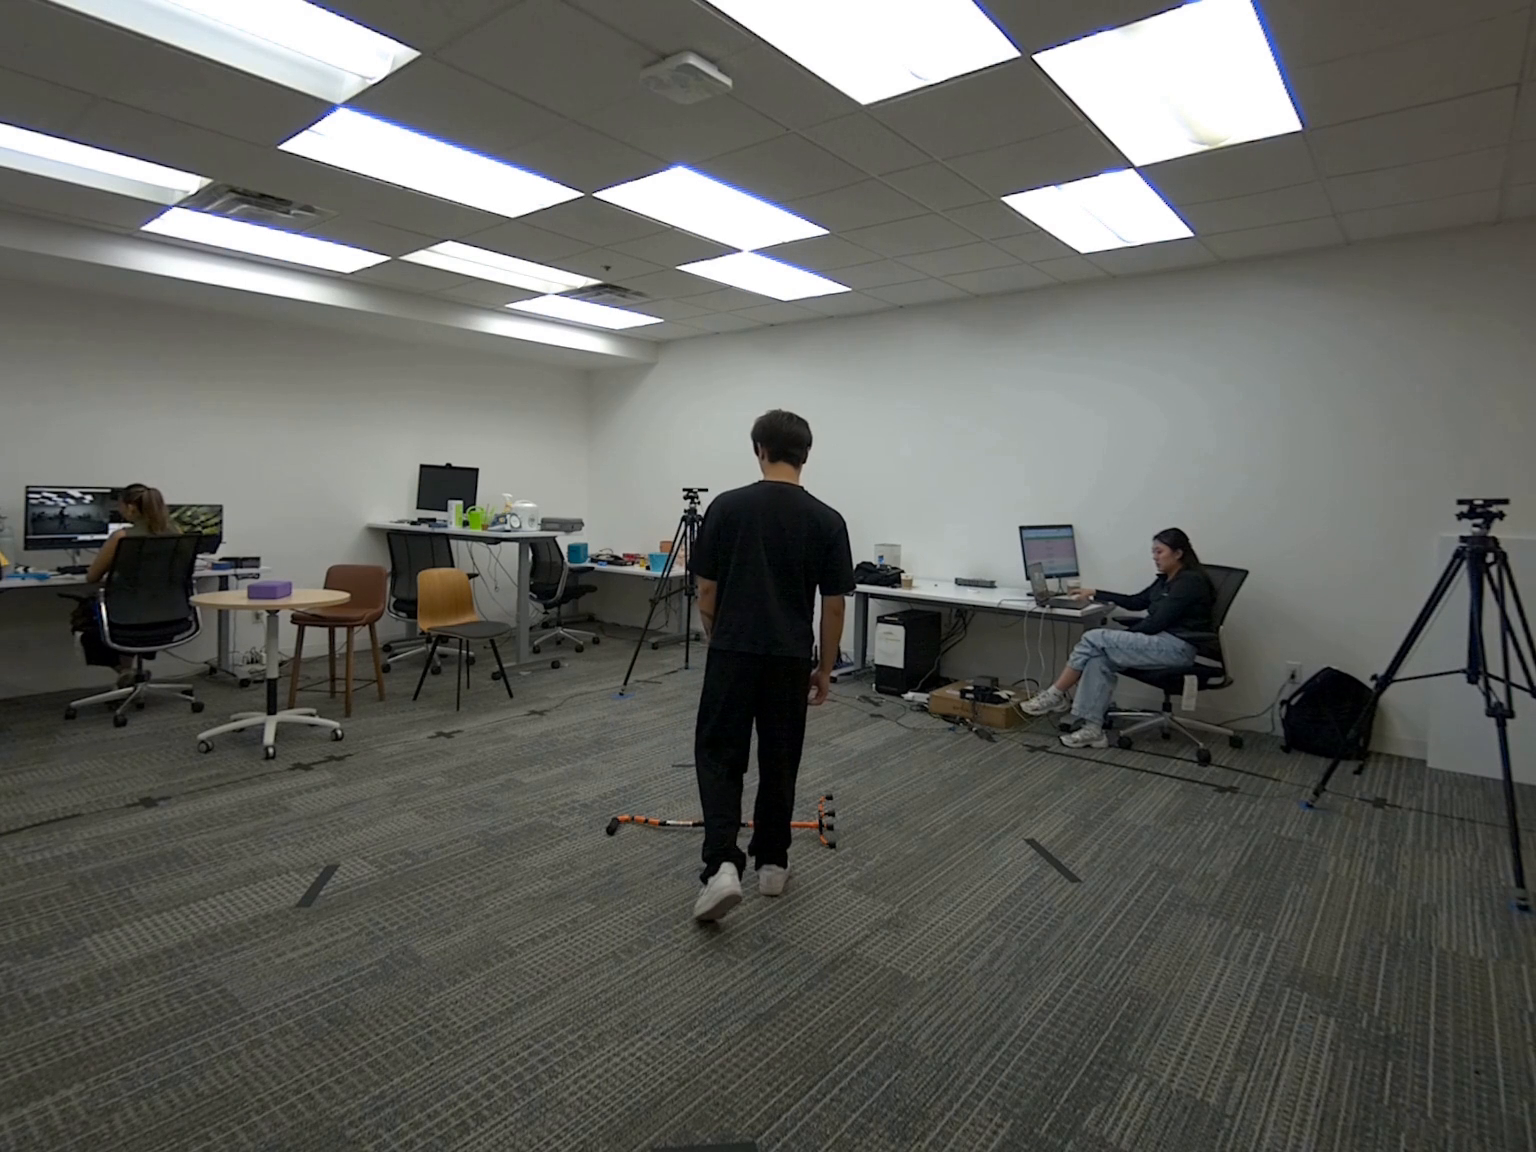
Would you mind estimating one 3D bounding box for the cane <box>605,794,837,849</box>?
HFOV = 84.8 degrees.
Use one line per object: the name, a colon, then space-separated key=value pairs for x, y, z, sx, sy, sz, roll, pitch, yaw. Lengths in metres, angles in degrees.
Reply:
cane: x=-0.201 y=0.983 z=3.451 sx=0.912 sy=0.151 sz=0.206 roll=-2 pitch=4 yaw=4
